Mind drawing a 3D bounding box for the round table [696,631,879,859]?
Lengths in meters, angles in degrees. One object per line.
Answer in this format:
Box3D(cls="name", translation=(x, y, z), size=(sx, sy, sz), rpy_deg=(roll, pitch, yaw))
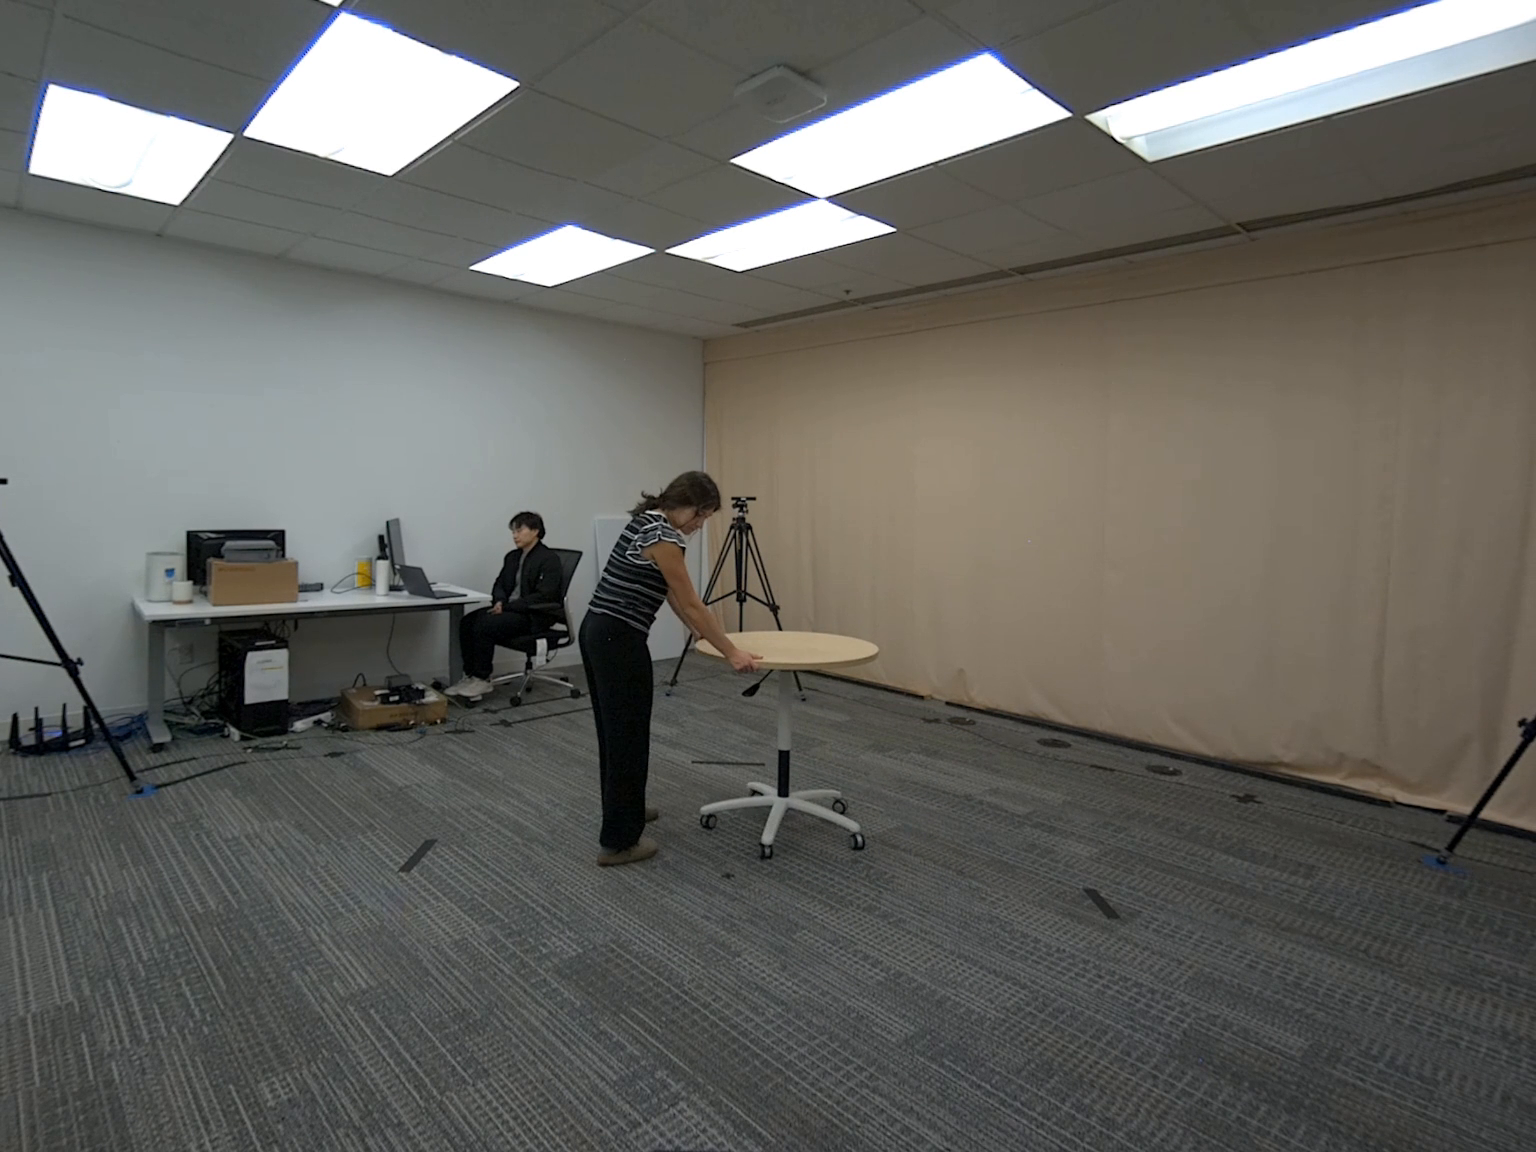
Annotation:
Box3D(cls="round table", translation=(0.066, 0.685, 3.552), size=(0.763, 0.792, 0.766), rpy_deg=(1, 4, -1))
